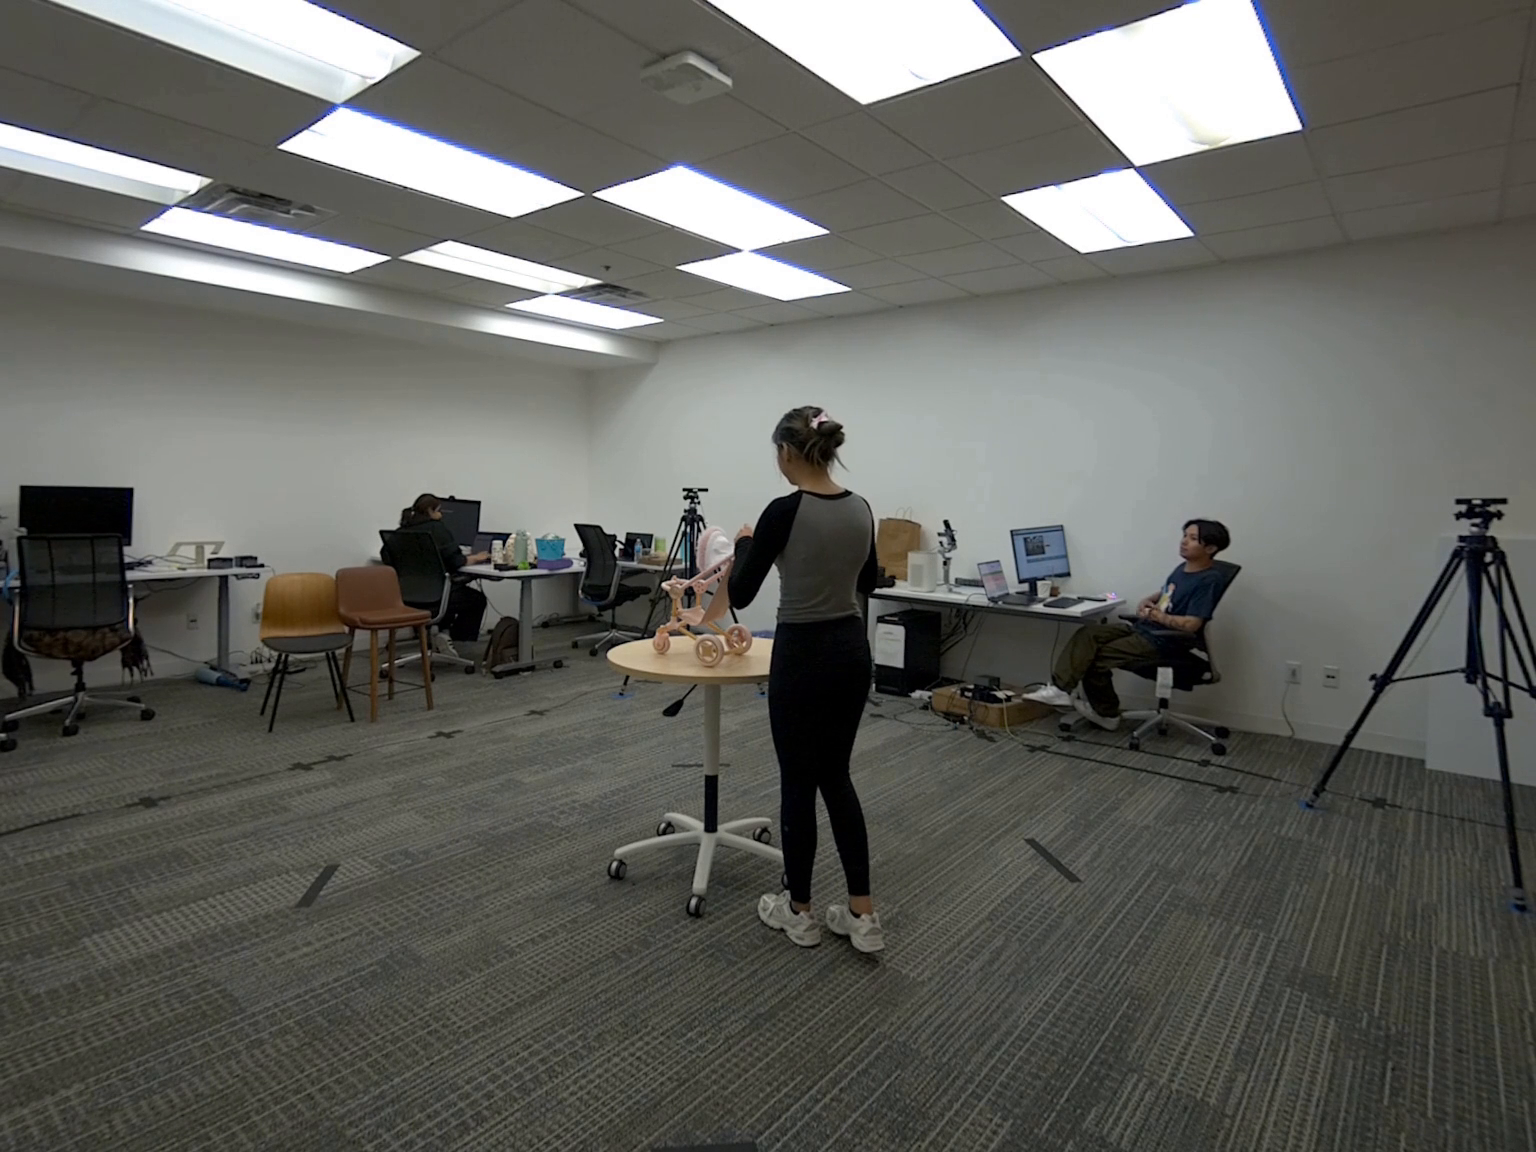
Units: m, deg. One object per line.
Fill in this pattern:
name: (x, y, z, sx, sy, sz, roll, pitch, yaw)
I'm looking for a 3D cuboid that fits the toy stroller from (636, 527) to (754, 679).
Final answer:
toy stroller: (-0.218, 0.064, 2.980, 0.352, 0.531, 0.274, 19, 11, 26)
